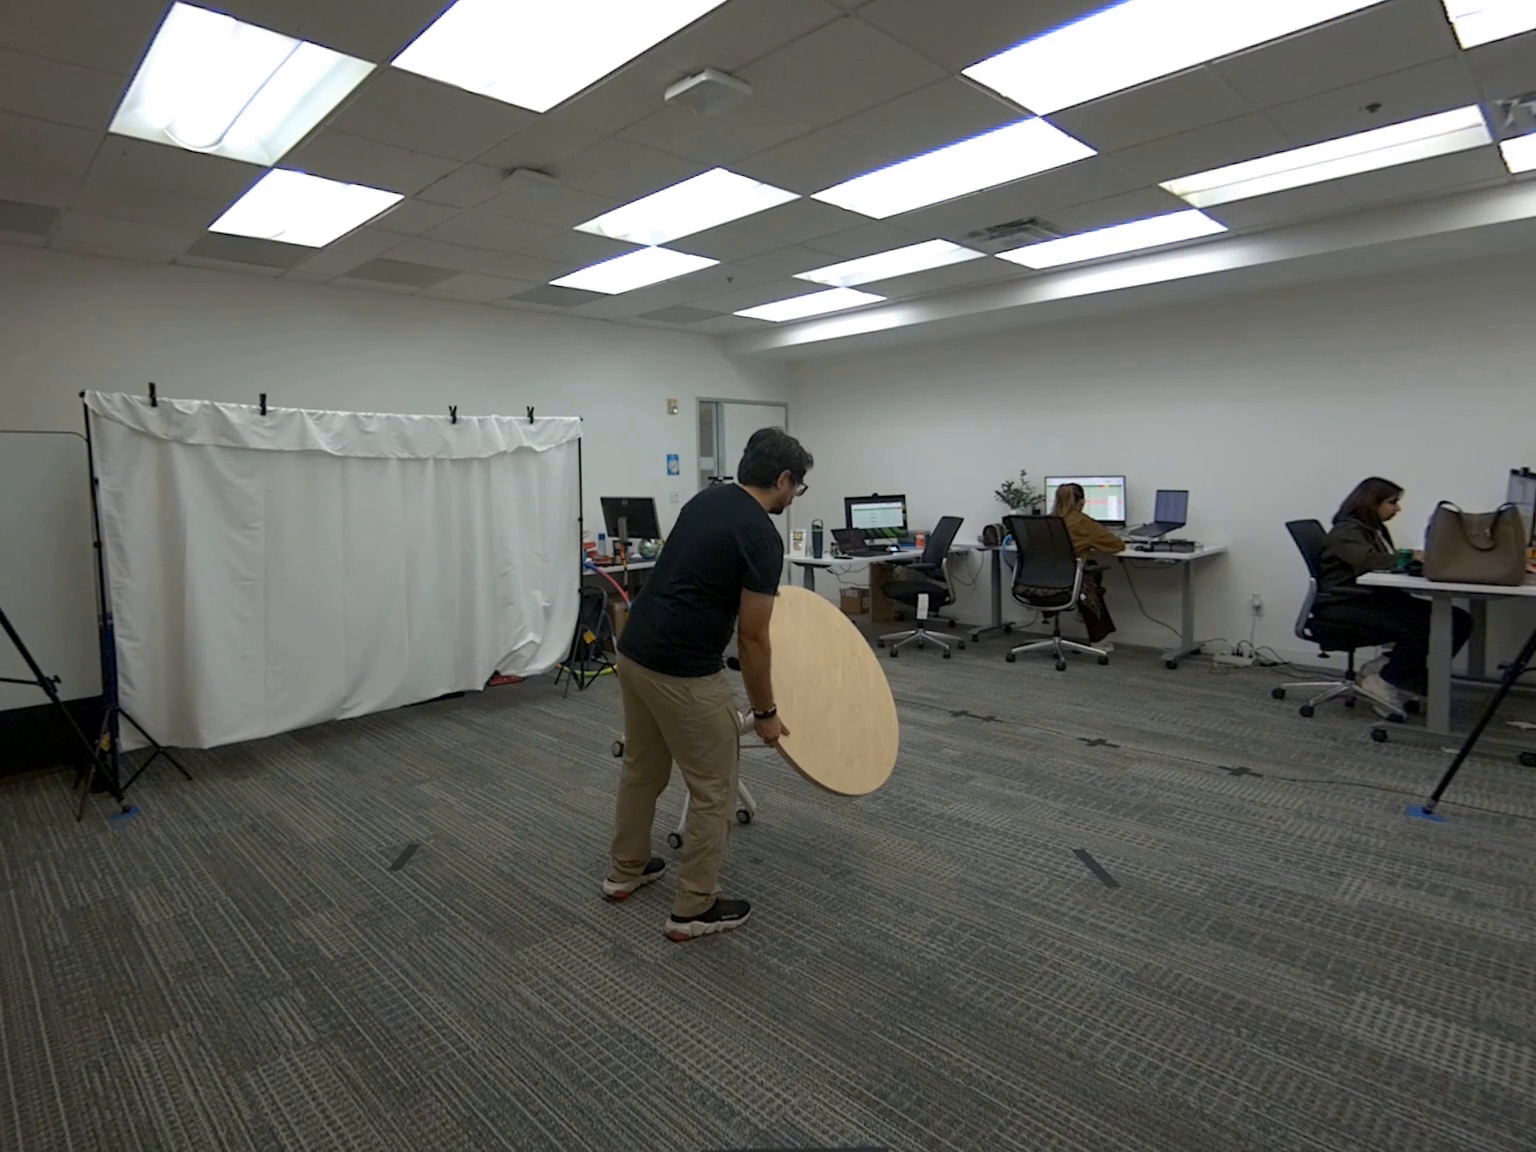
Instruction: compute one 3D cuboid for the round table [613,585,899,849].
[{"bbox_3d":[-0.069,0.546,3.208,0.792,0.799,0.765,-34,-16,35],"label":"round table"}]
